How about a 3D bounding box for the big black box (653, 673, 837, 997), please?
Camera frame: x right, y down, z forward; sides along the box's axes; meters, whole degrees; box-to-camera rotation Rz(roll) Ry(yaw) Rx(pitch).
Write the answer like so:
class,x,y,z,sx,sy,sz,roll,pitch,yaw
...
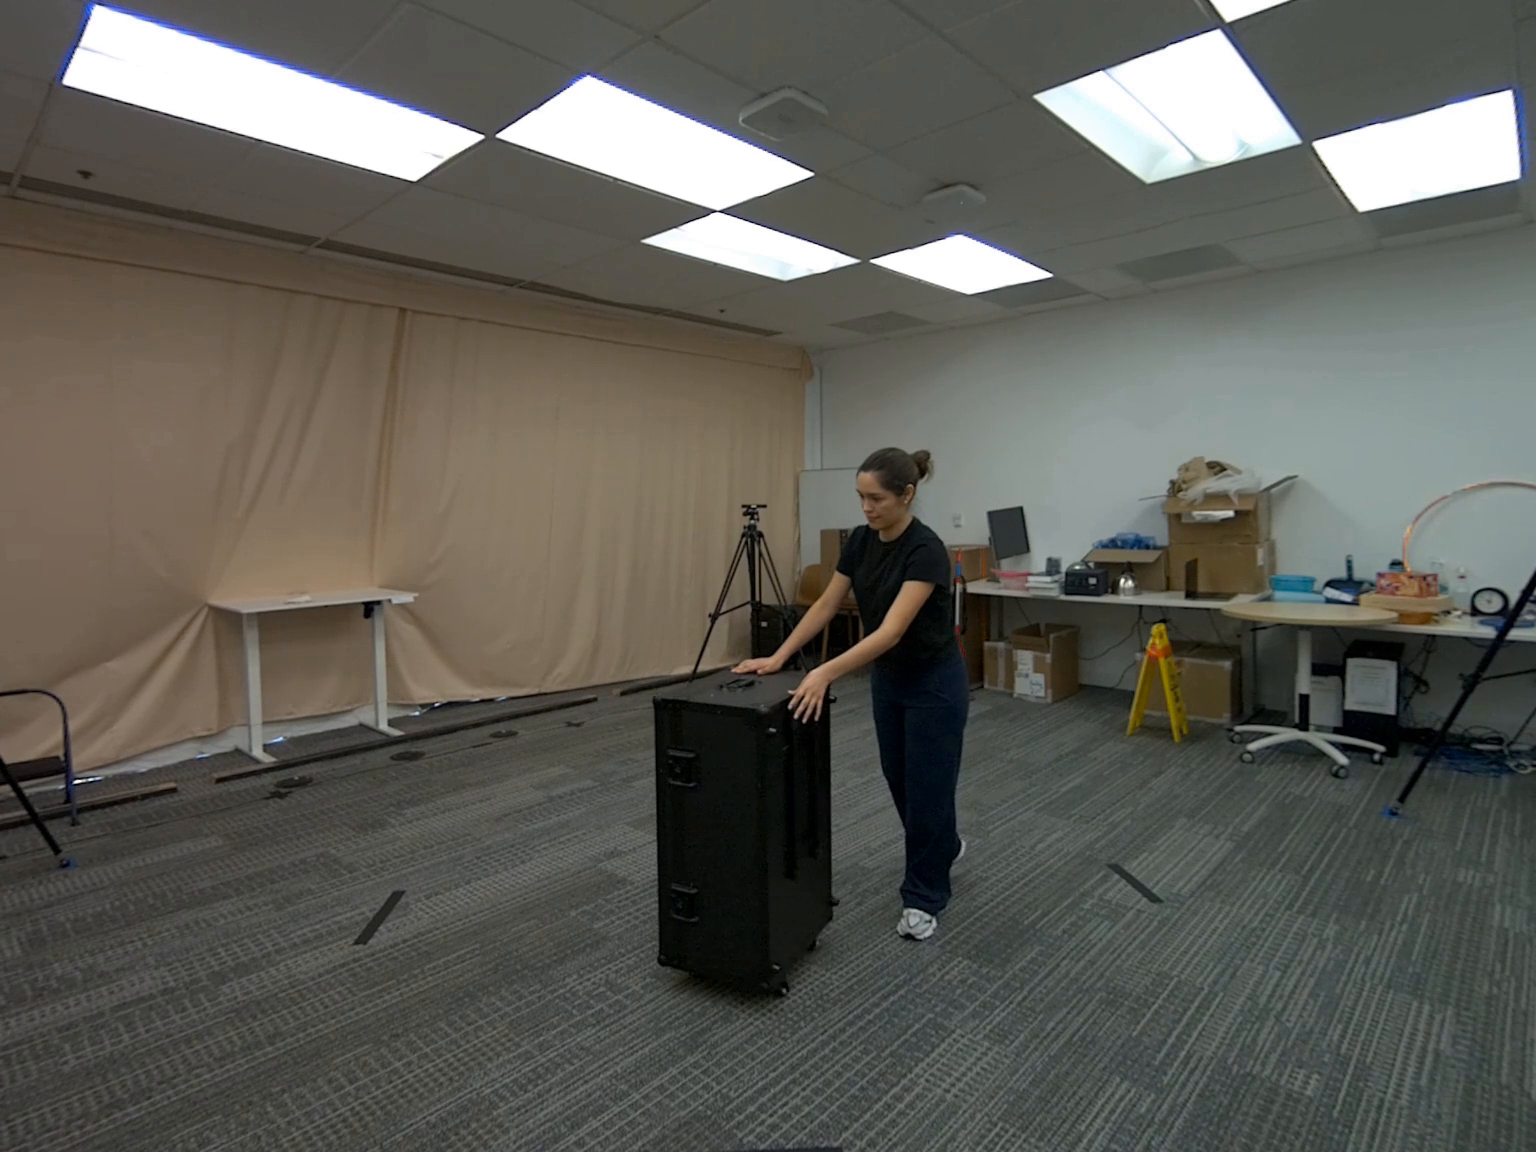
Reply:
class,x,y,z,sx,sy,sz,roll,pitch,yaw
big black box,-0.031,0.756,2.546,0.407,0.860,0.509,0,3,26
